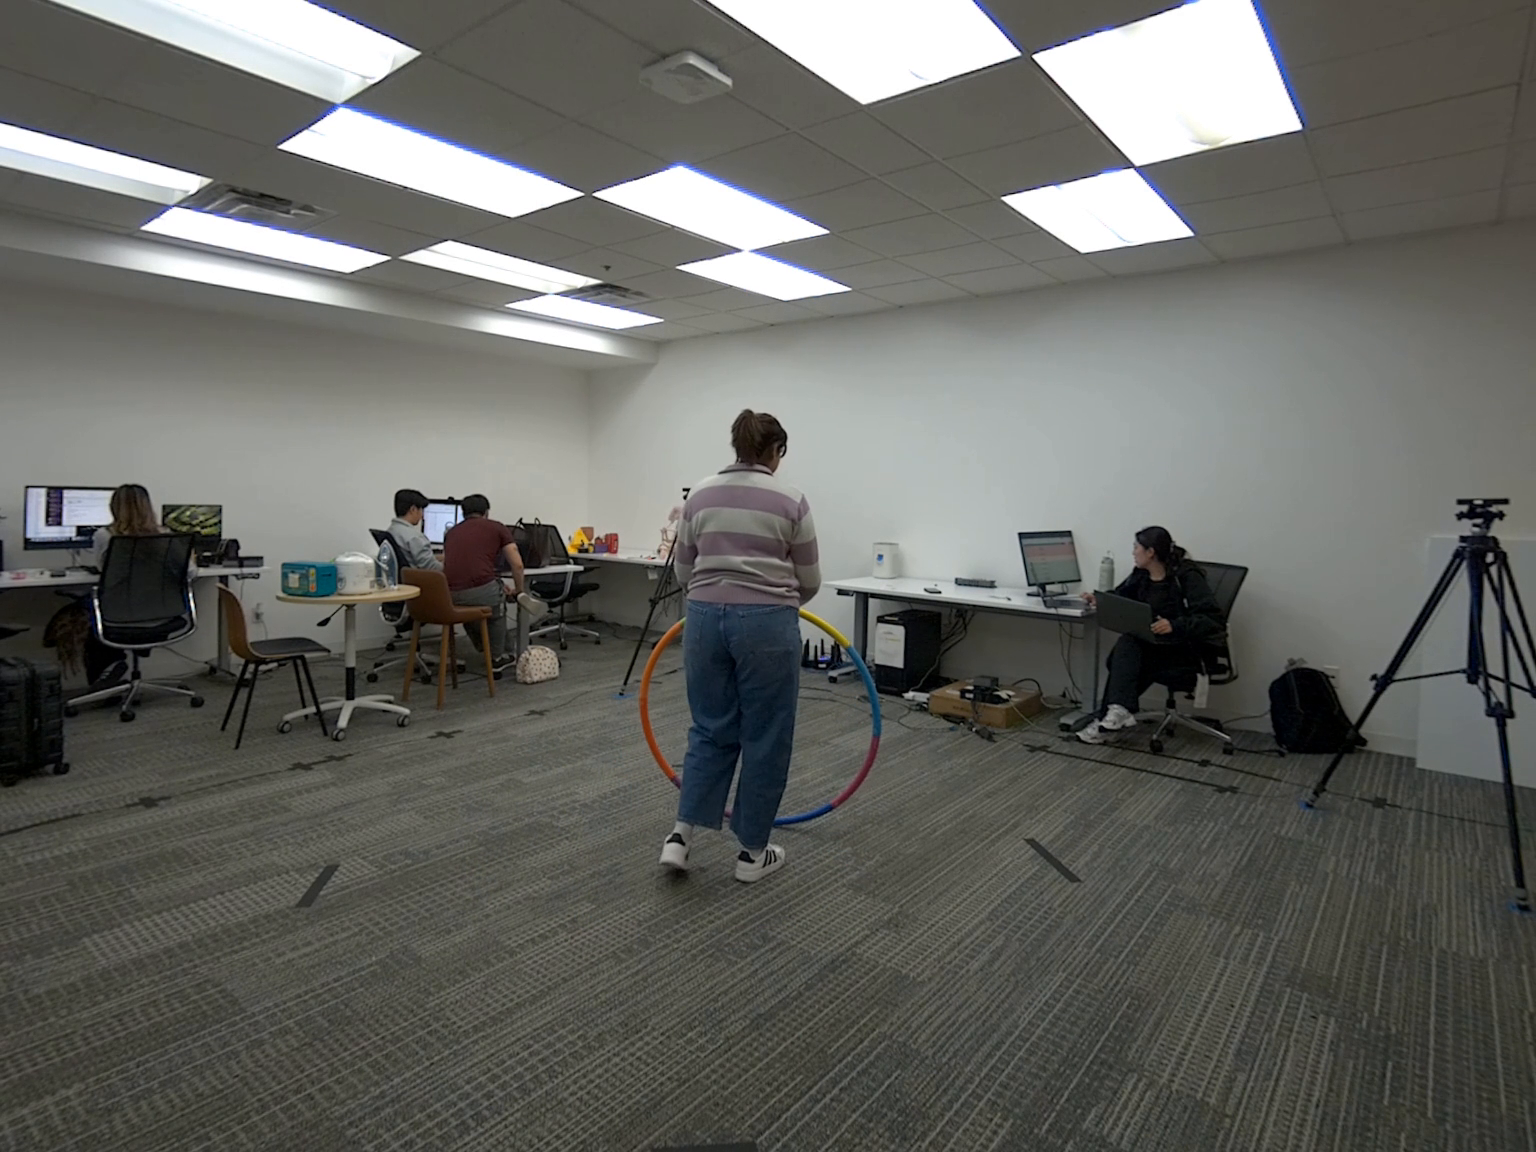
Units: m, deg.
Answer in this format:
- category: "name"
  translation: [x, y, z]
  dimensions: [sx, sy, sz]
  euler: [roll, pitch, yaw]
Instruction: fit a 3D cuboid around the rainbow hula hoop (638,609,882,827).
- category: "rainbow hula hoop"
  translation: [-0.060, 0.561, 3.461]
  dimensions: [0.994, 0.969, 0.035]
  euler: [2, 10, 14]
